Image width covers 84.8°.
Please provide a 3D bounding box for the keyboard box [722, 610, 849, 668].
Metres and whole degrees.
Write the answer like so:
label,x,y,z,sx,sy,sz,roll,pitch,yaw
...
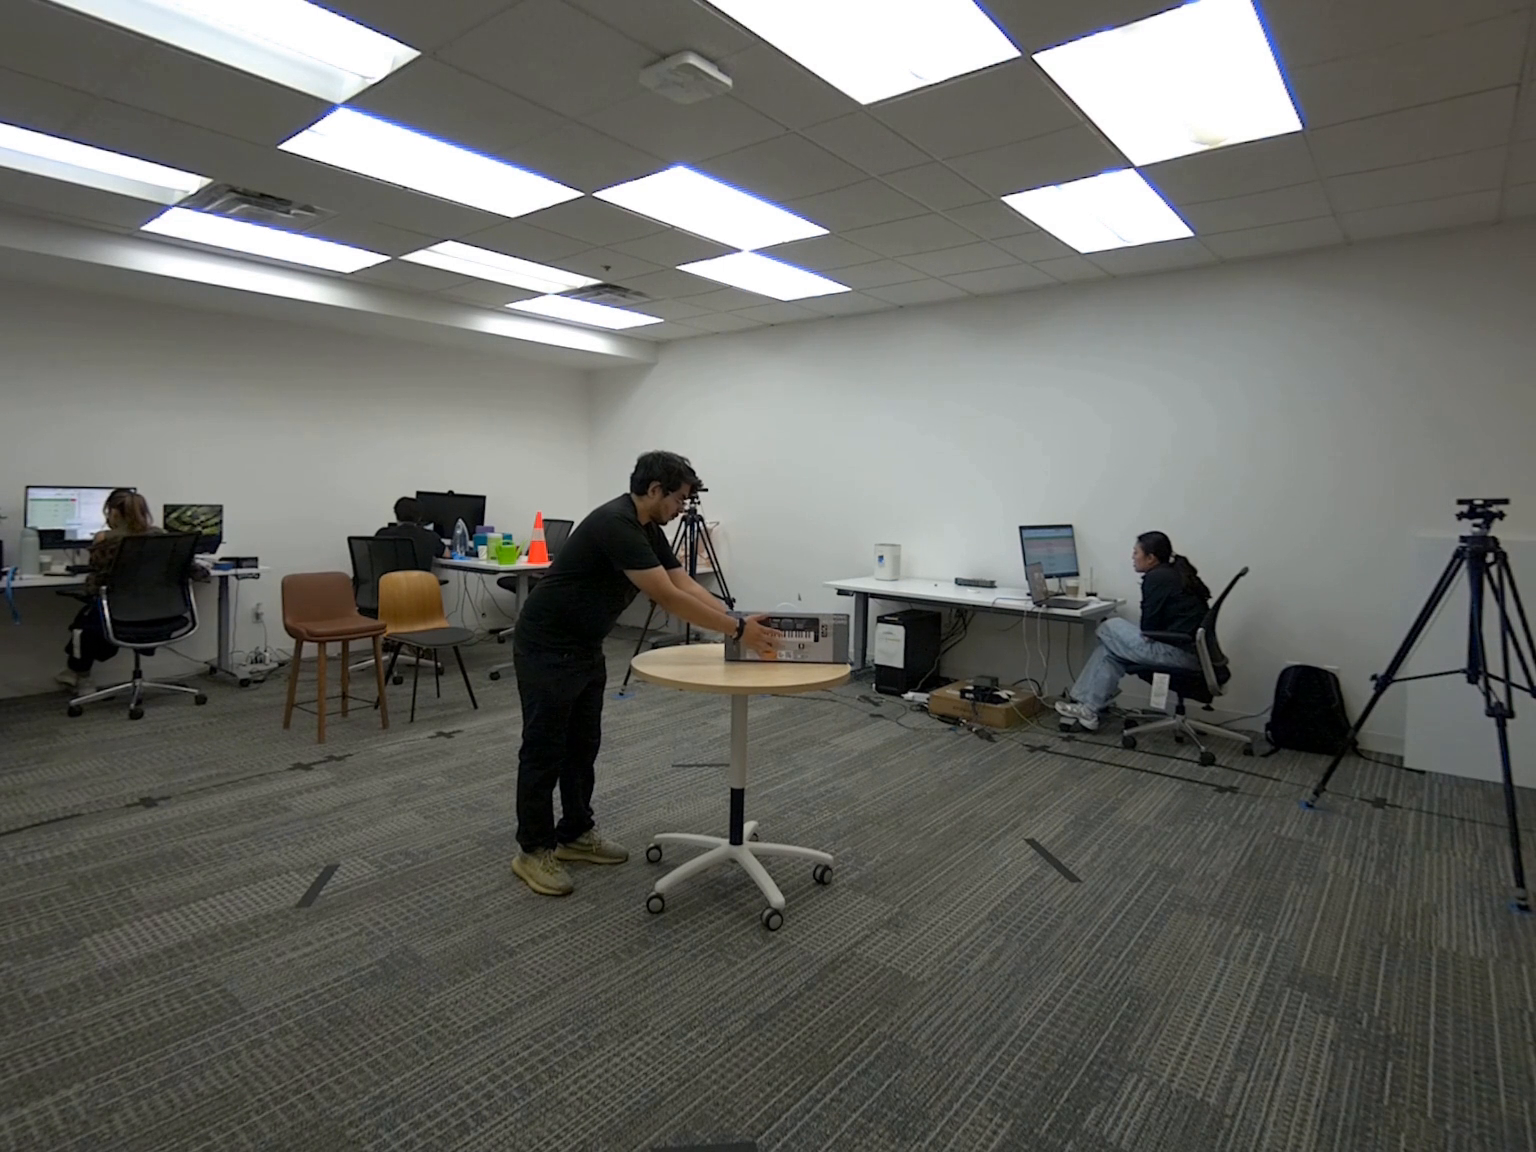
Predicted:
label,x,y,z,sx,sy,sz,roll,pitch,yaw
keyboard box,0.059,0.223,3.005,0.438,0.176,0.059,2,0,3
